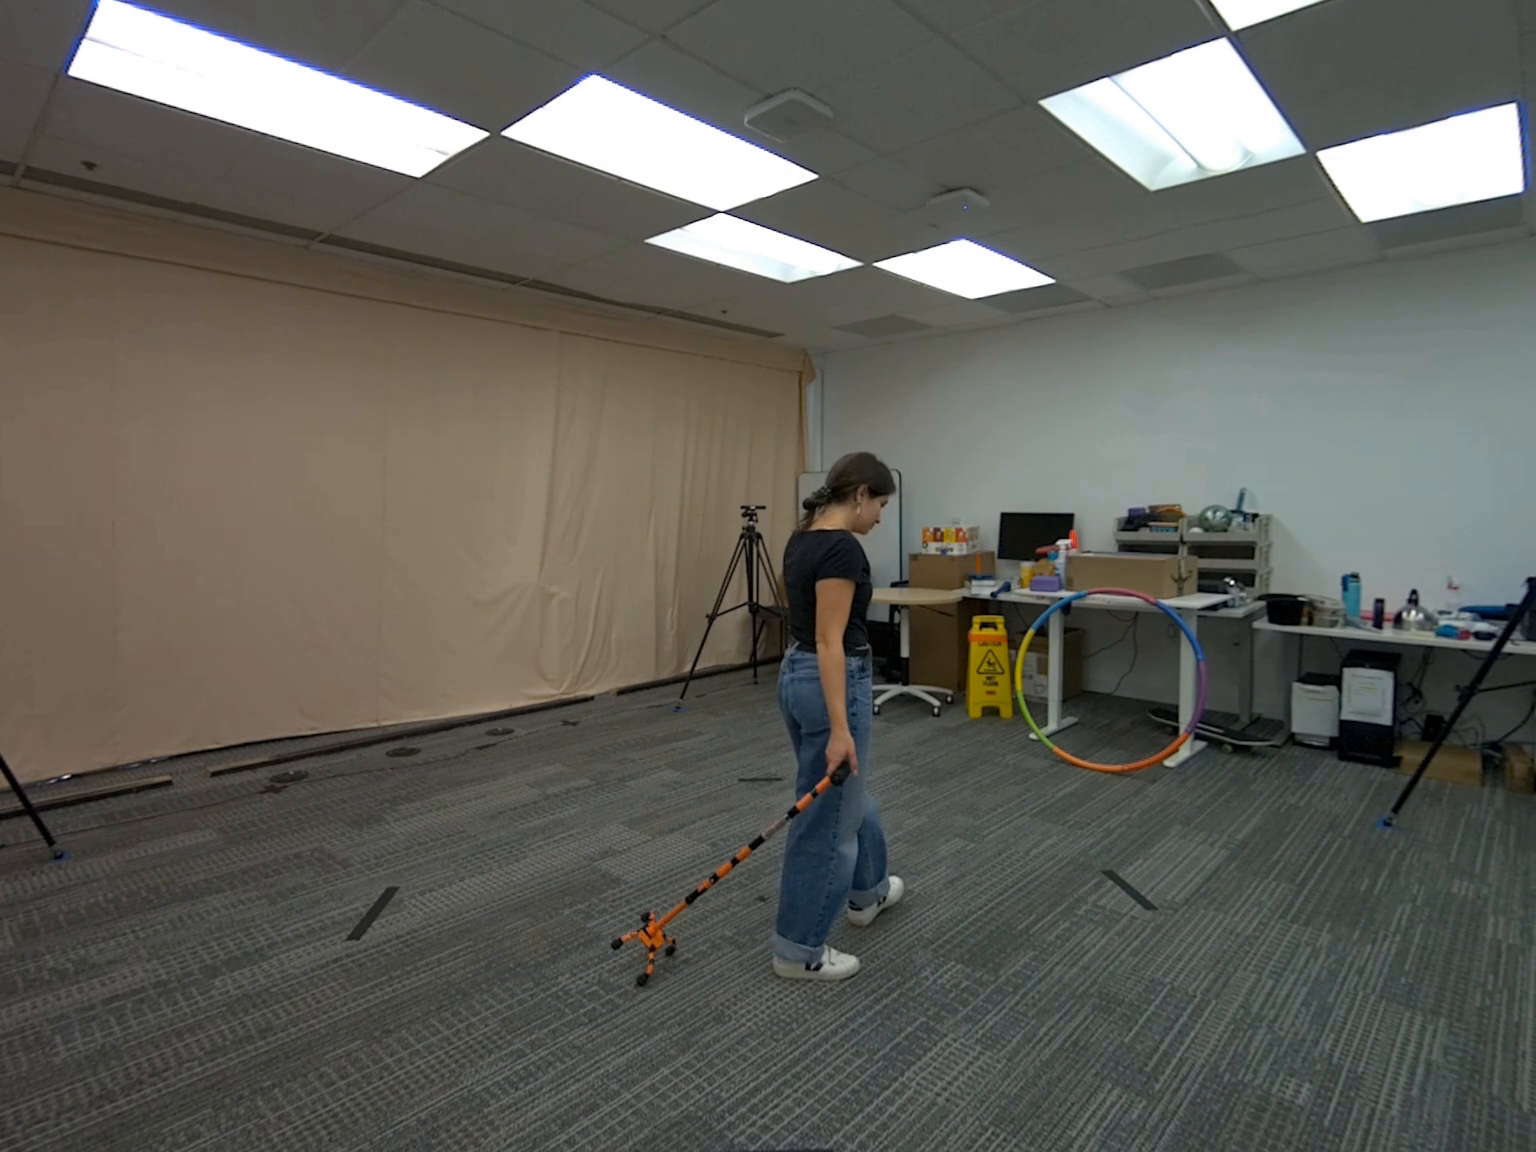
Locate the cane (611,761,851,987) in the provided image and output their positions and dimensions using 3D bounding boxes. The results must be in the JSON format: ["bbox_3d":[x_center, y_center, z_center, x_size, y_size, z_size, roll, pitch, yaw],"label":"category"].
[{"bbox_3d":[-0.076,0.828,2.394,0.913,0.154,0.202,-45,-11,20],"label":"cane"}]
